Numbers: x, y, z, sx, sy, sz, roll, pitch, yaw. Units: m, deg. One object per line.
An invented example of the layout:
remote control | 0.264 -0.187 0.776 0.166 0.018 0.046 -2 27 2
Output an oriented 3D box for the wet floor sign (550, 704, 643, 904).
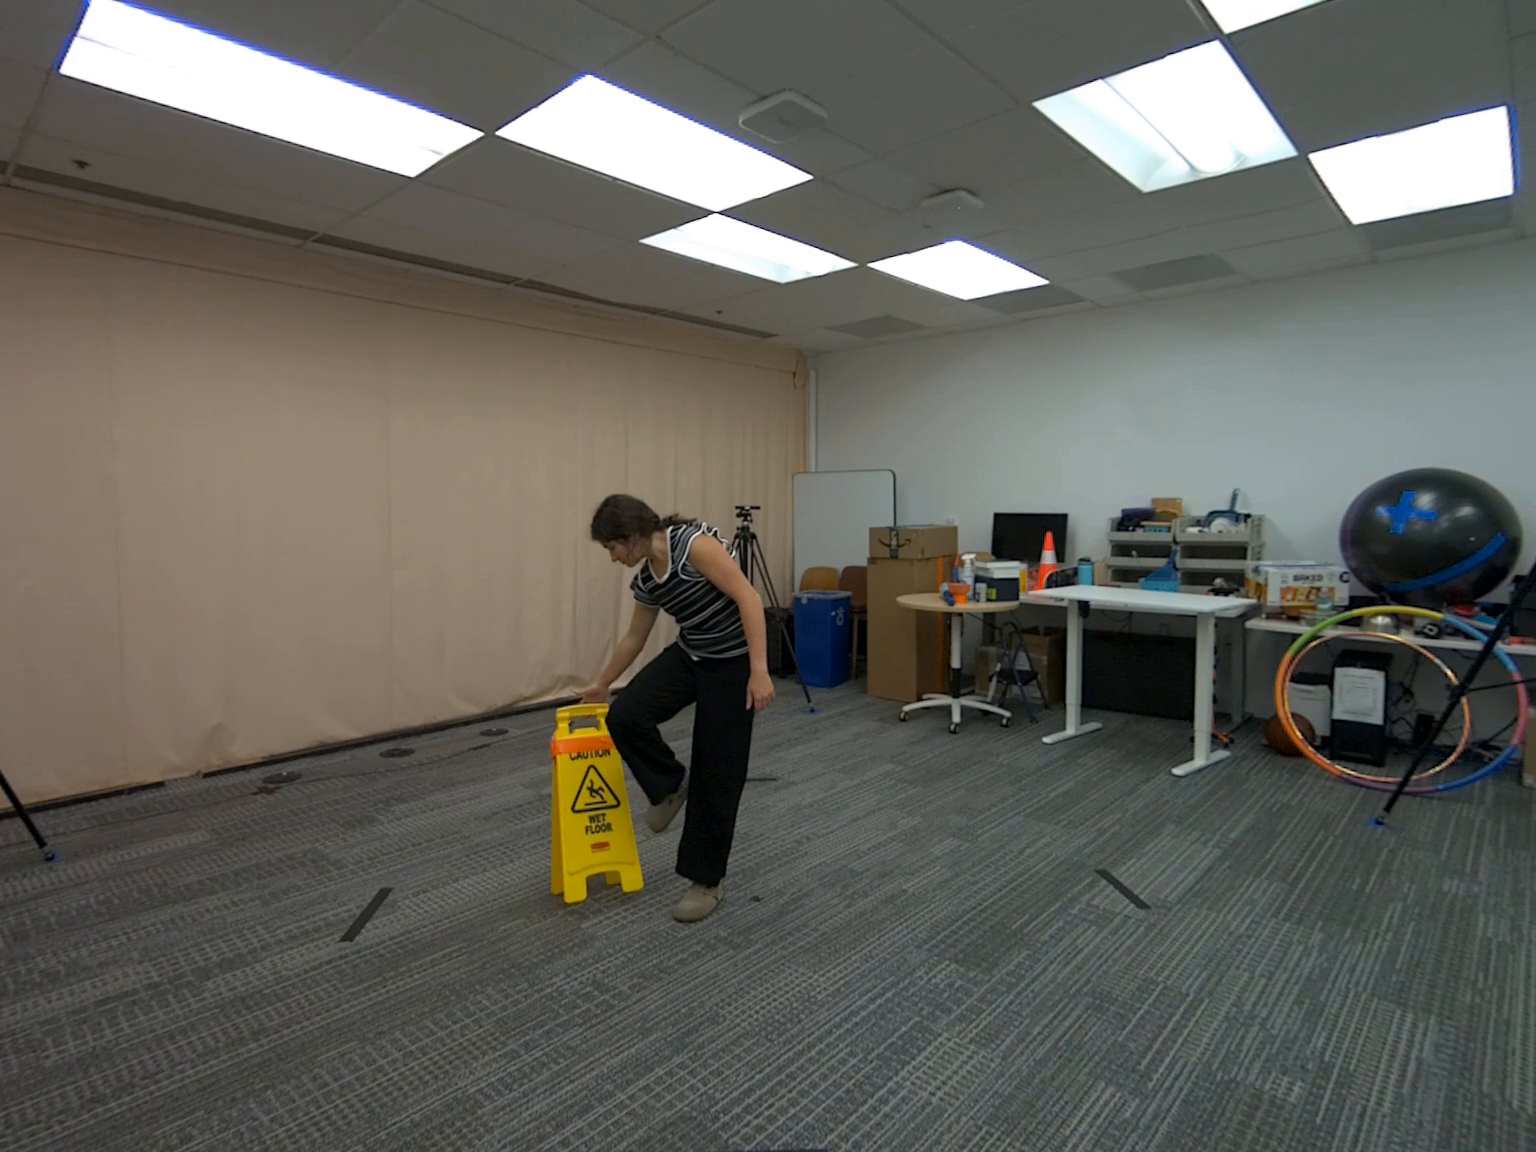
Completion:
wet floor sign | -0.647 0.802 3.046 0.276 0.652 0.293 -2 -12 -23
